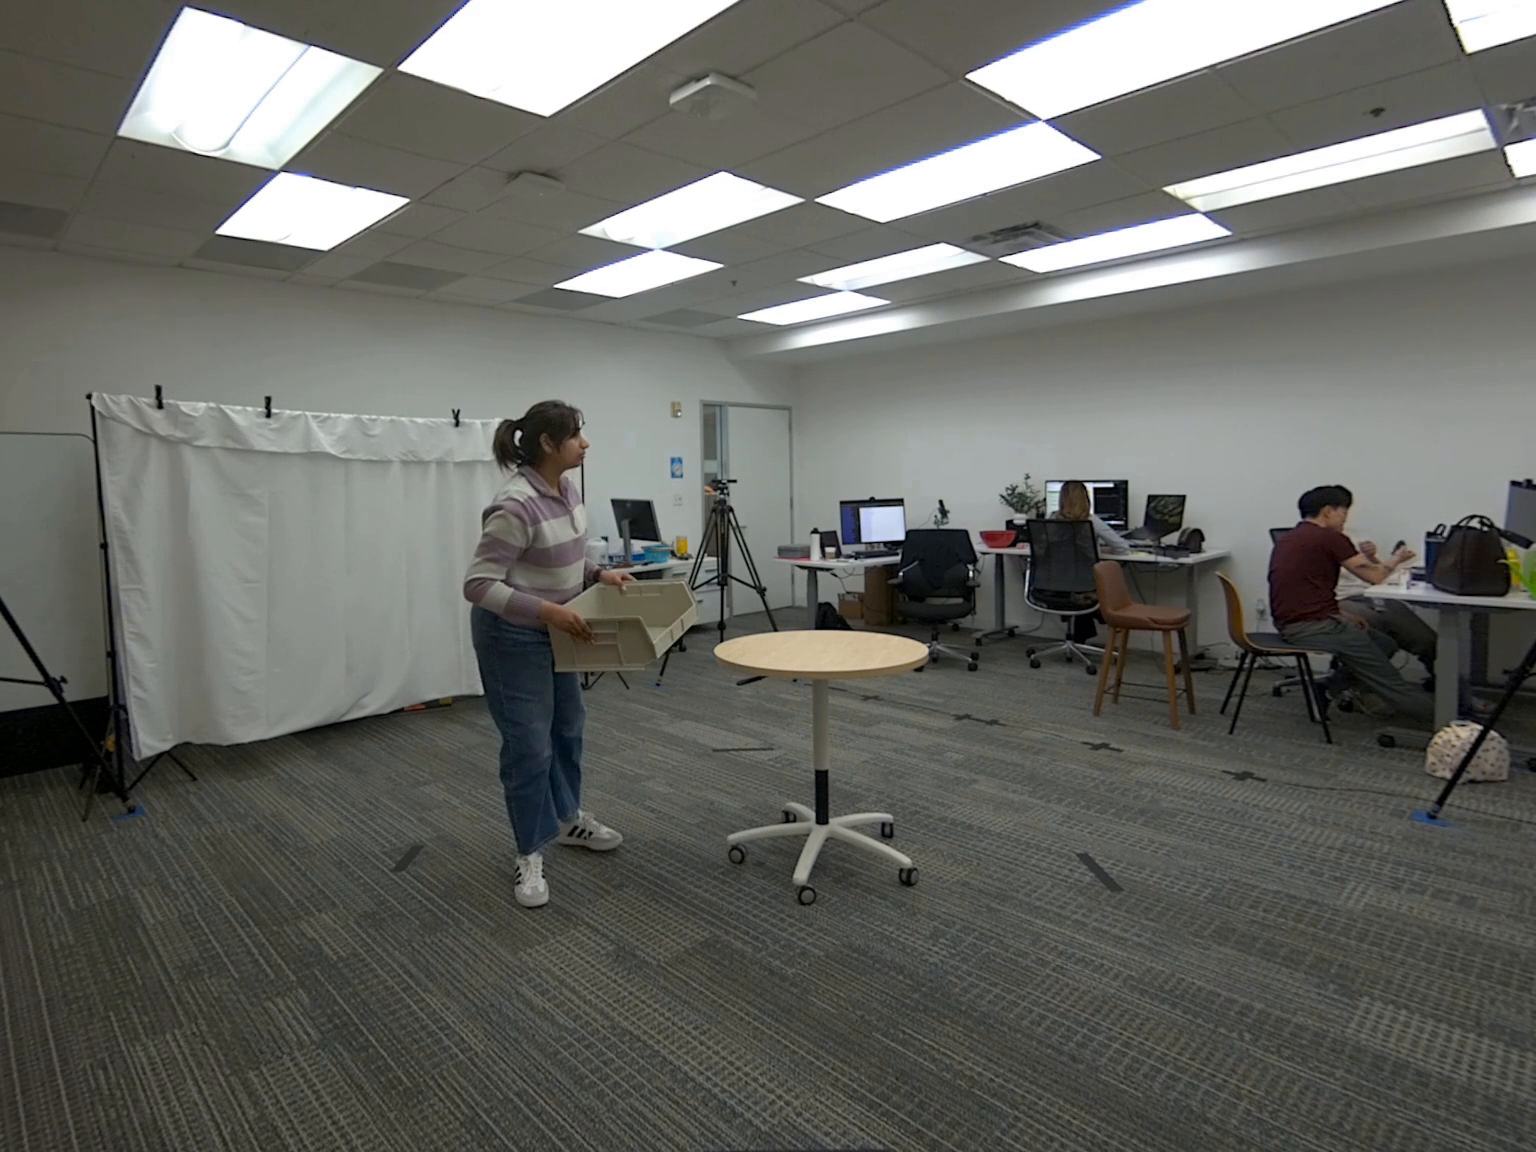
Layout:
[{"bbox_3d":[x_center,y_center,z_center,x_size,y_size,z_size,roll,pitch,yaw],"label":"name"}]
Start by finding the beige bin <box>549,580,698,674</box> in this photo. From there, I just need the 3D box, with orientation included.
[{"bbox_3d":[-0.472,0.155,2.862,0.383,0.187,0.421,-4,13,16],"label":"beige bin"}]
